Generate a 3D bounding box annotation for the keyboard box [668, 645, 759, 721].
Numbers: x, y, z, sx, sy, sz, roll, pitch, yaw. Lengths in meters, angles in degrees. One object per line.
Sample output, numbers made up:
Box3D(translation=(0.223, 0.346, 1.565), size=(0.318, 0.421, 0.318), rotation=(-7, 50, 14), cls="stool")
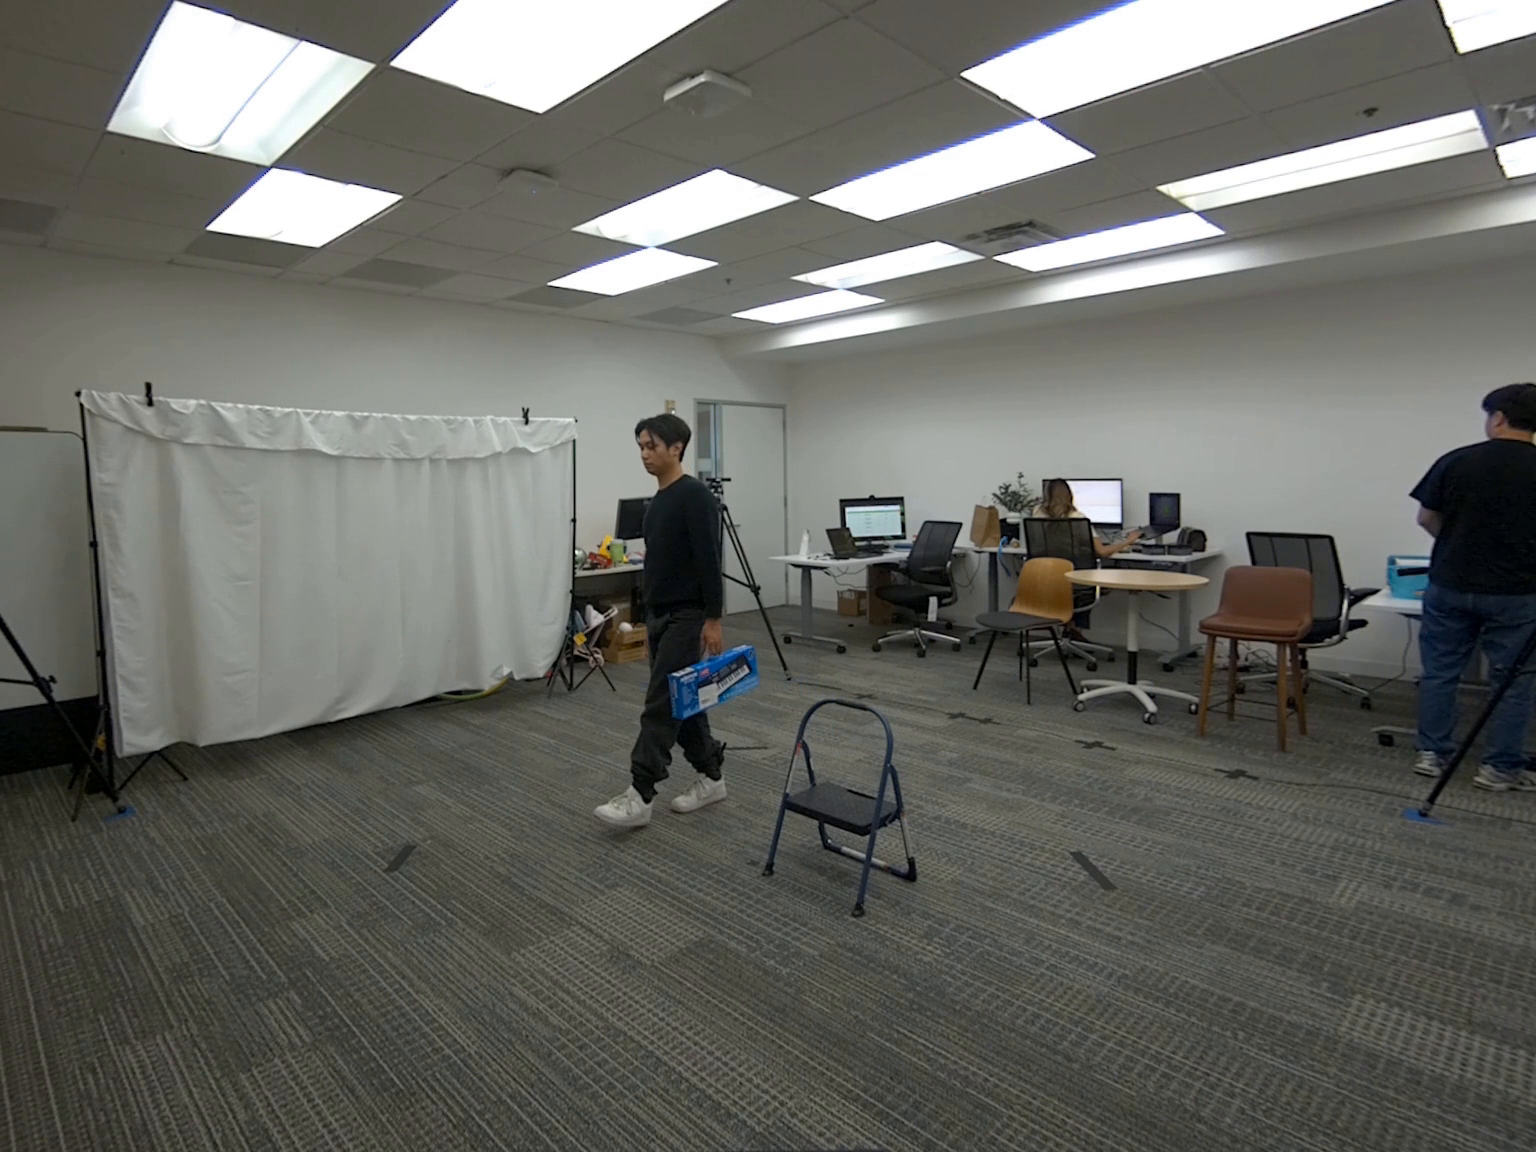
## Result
Box3D(translation=(-0.217, 0.420, 3.420), size=(0.061, 0.174, 0.428), rotation=(4, 14, 43), cls="keyboard box")
